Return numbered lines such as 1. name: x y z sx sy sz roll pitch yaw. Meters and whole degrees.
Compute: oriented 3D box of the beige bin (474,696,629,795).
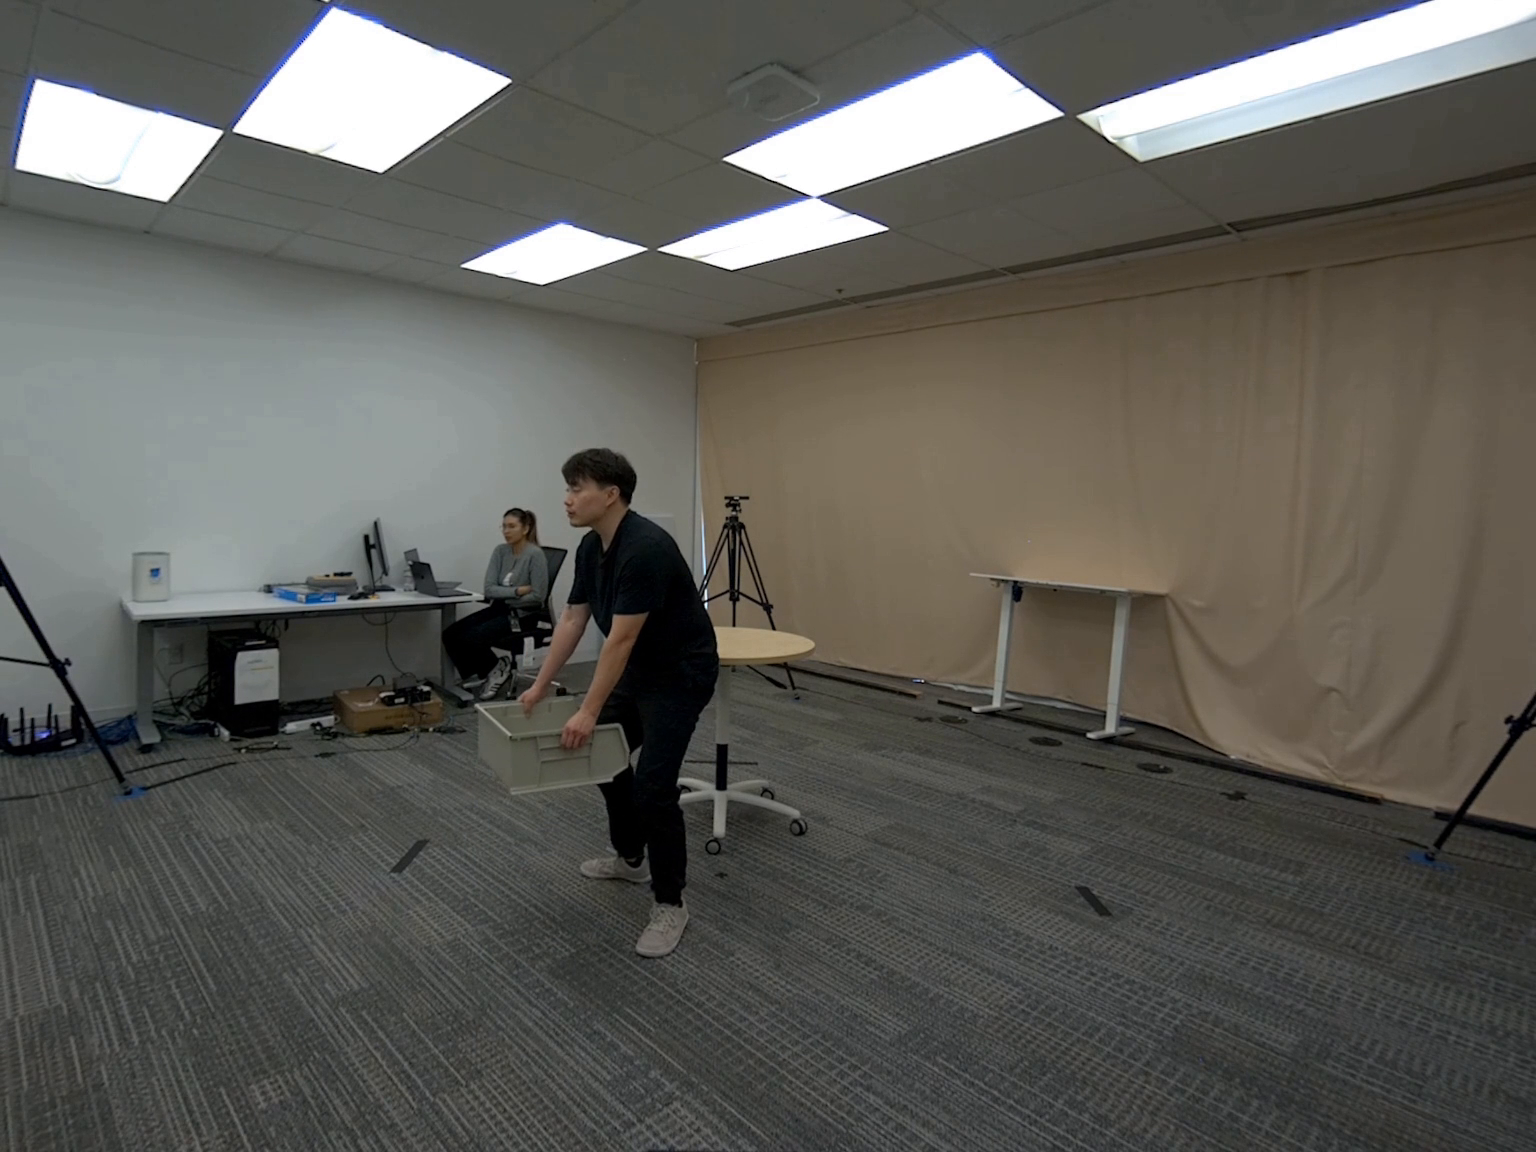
1. beige bin: -0.700 0.527 2.675 0.370 0.188 0.432 -2 6 -31
